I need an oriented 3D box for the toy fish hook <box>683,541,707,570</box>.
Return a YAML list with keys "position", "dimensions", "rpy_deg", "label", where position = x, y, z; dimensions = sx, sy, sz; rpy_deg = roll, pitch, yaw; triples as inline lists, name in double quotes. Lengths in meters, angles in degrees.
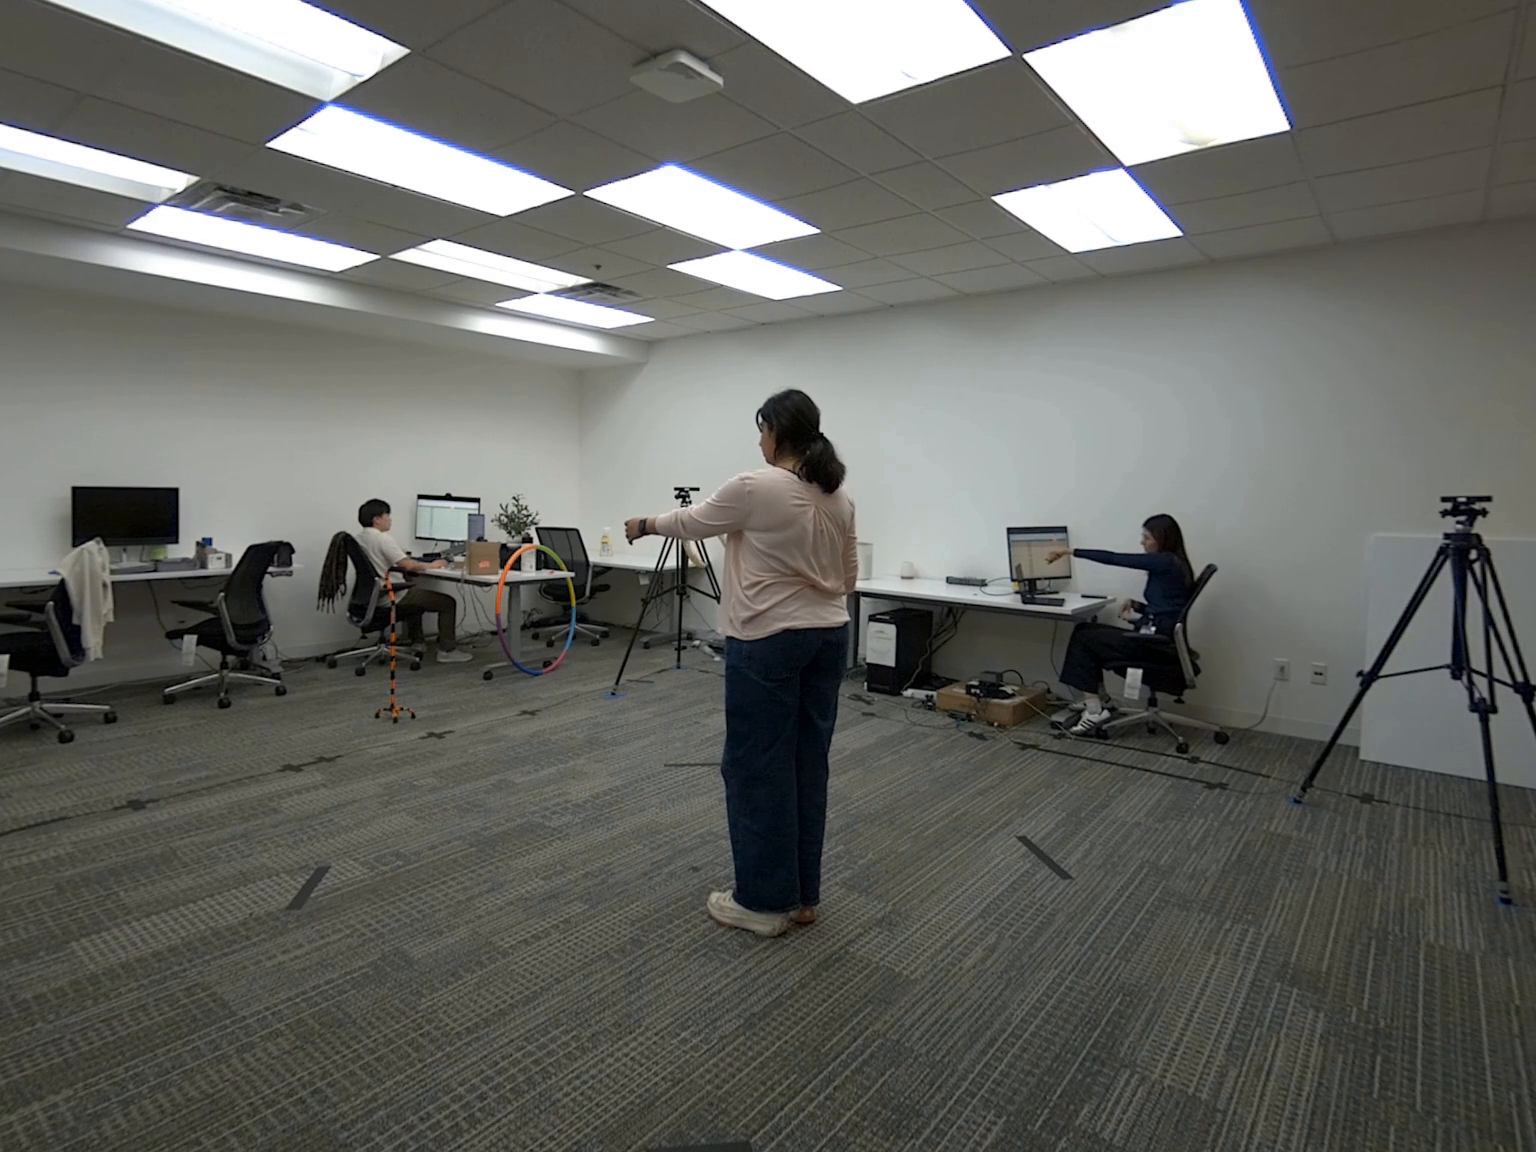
- position: [-0.174, -0.074, 3.144]
  dimensions: [0.047, 0.221, 0.526]
  rpy_deg: [-11, 45, -42]
  label: "toy fish hook"
